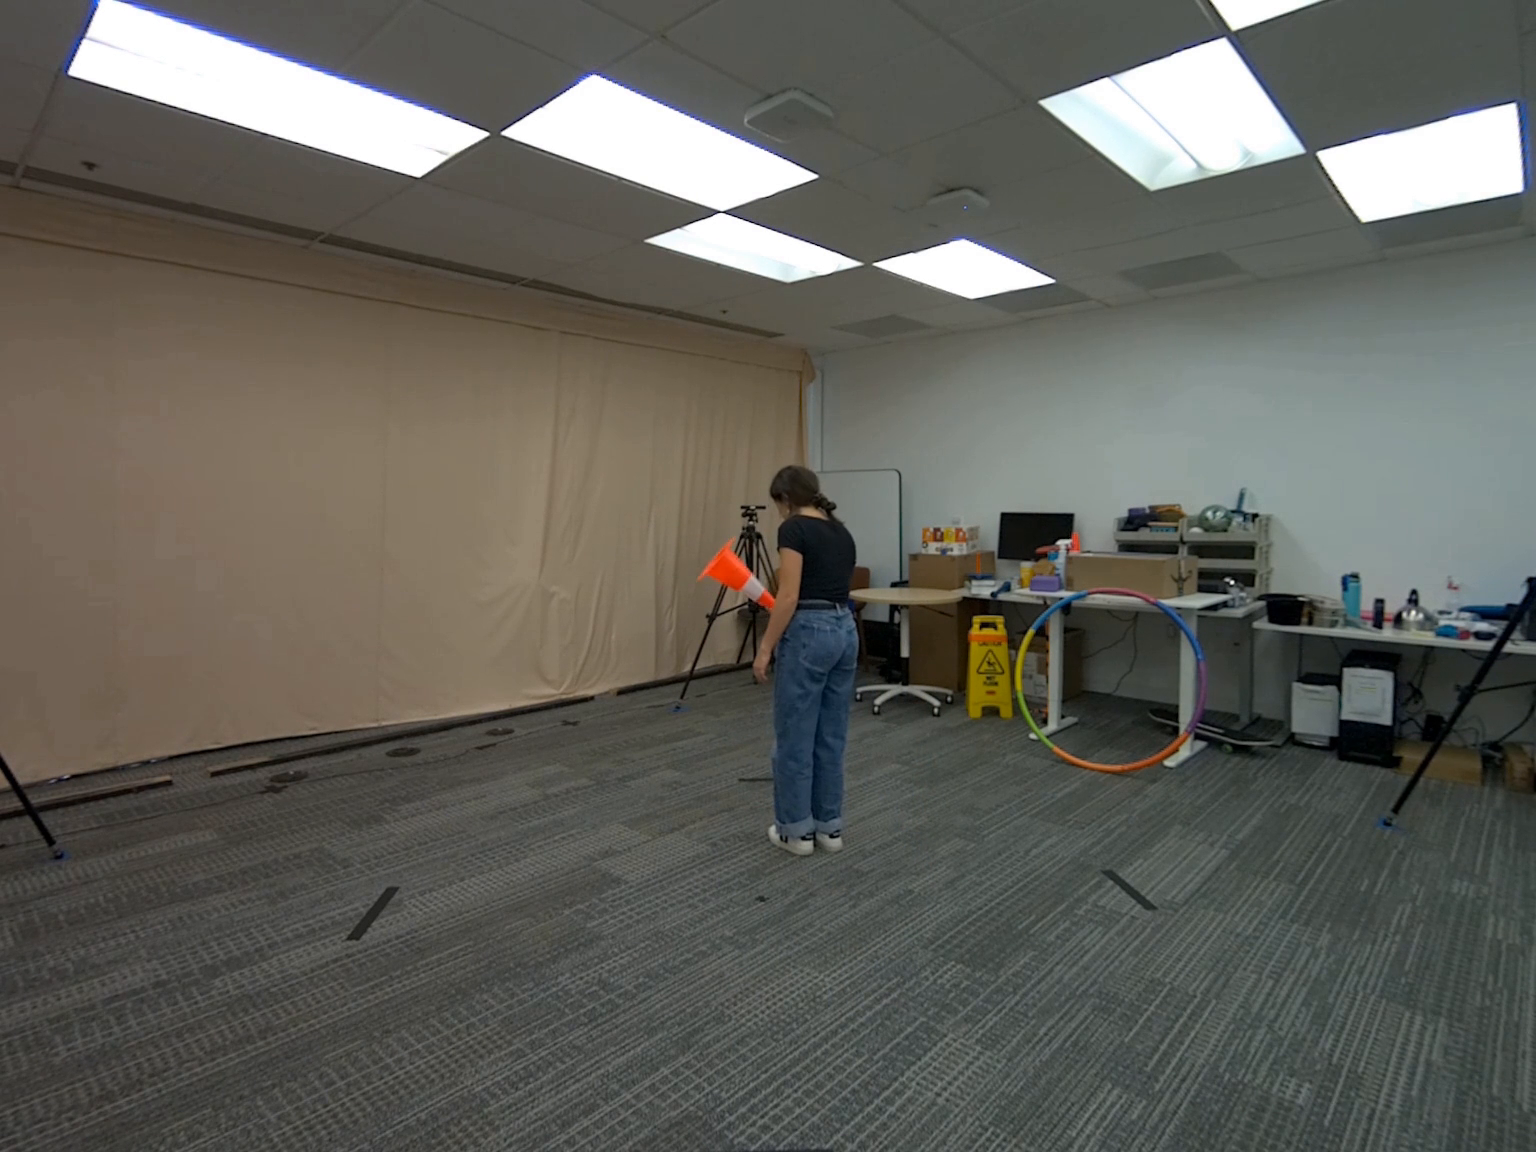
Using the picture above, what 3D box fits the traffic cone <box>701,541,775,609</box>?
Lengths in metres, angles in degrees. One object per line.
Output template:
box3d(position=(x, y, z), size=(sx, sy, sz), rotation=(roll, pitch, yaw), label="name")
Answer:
box3d(position=(-0.081, 0.065, 3.801), size=(0.382, 0.204, 0.205), rotation=(39, -23, -4), label="traffic cone")
